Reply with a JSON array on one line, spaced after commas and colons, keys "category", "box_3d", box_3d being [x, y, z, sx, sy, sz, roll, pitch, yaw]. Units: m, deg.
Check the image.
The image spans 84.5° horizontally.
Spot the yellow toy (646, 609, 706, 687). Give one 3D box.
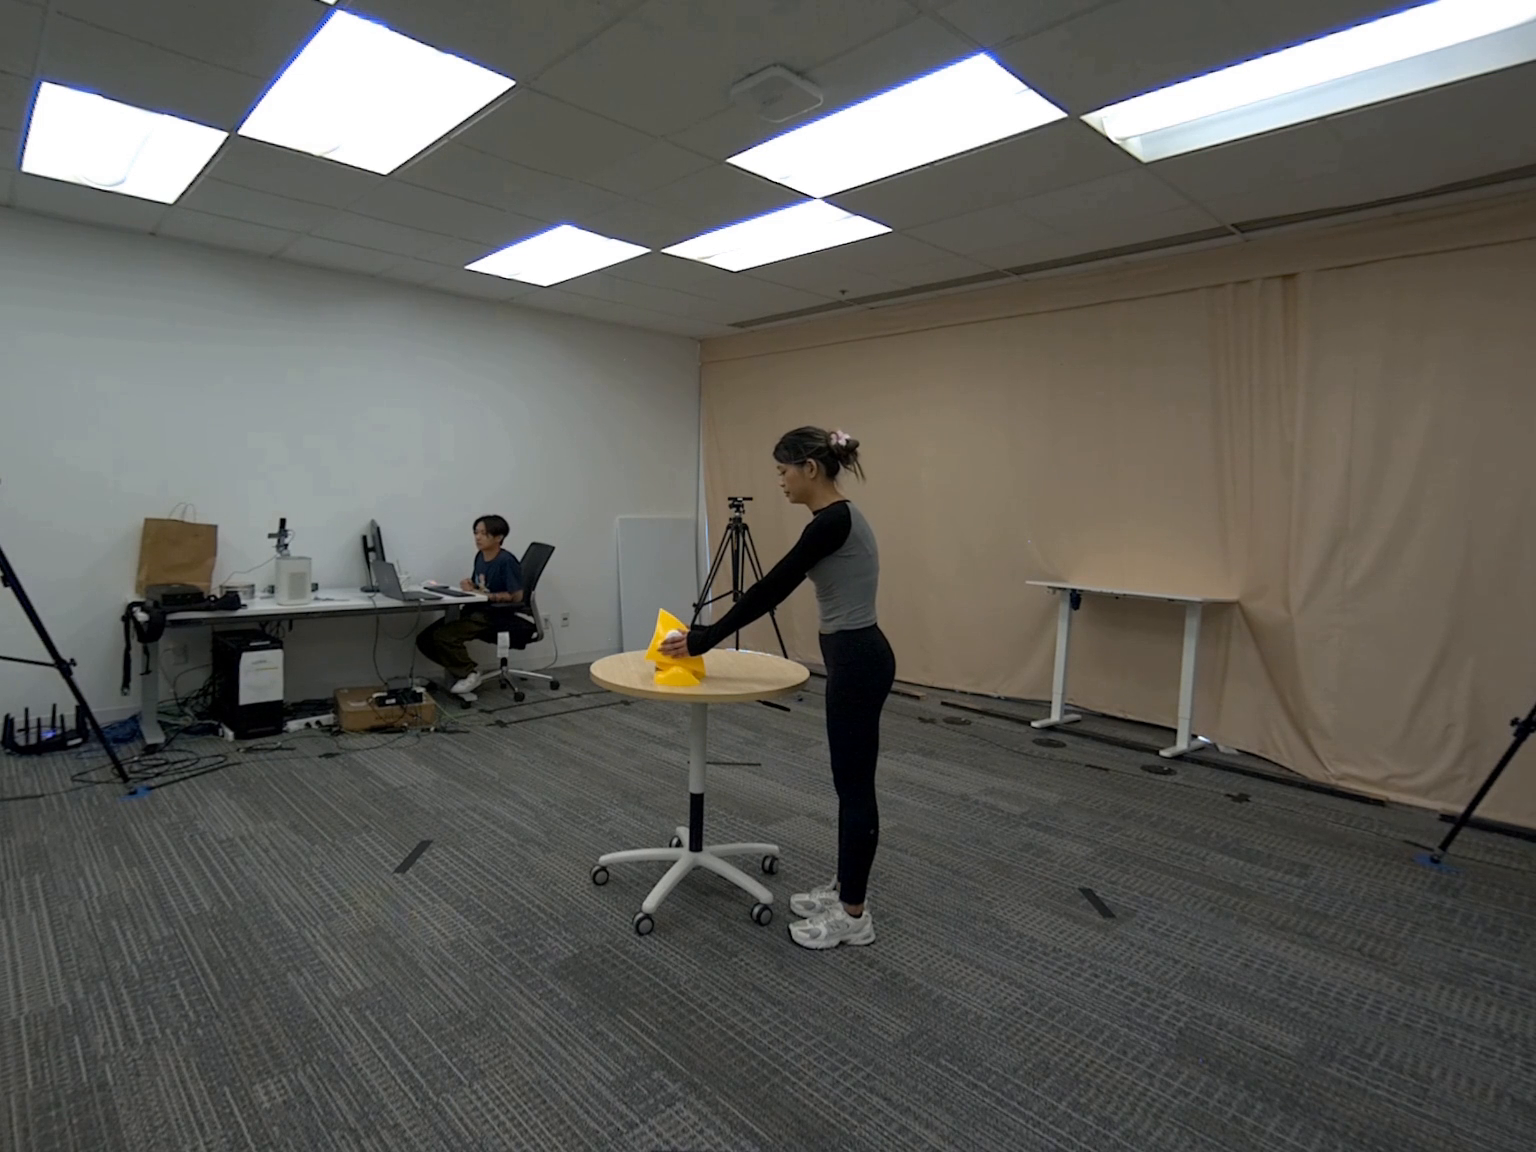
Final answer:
[{"category": "yellow toy", "box_3d": [-0.301, 0.226, 2.777, 0.194, 0.230, 0.204, 1, 5, 6]}]
